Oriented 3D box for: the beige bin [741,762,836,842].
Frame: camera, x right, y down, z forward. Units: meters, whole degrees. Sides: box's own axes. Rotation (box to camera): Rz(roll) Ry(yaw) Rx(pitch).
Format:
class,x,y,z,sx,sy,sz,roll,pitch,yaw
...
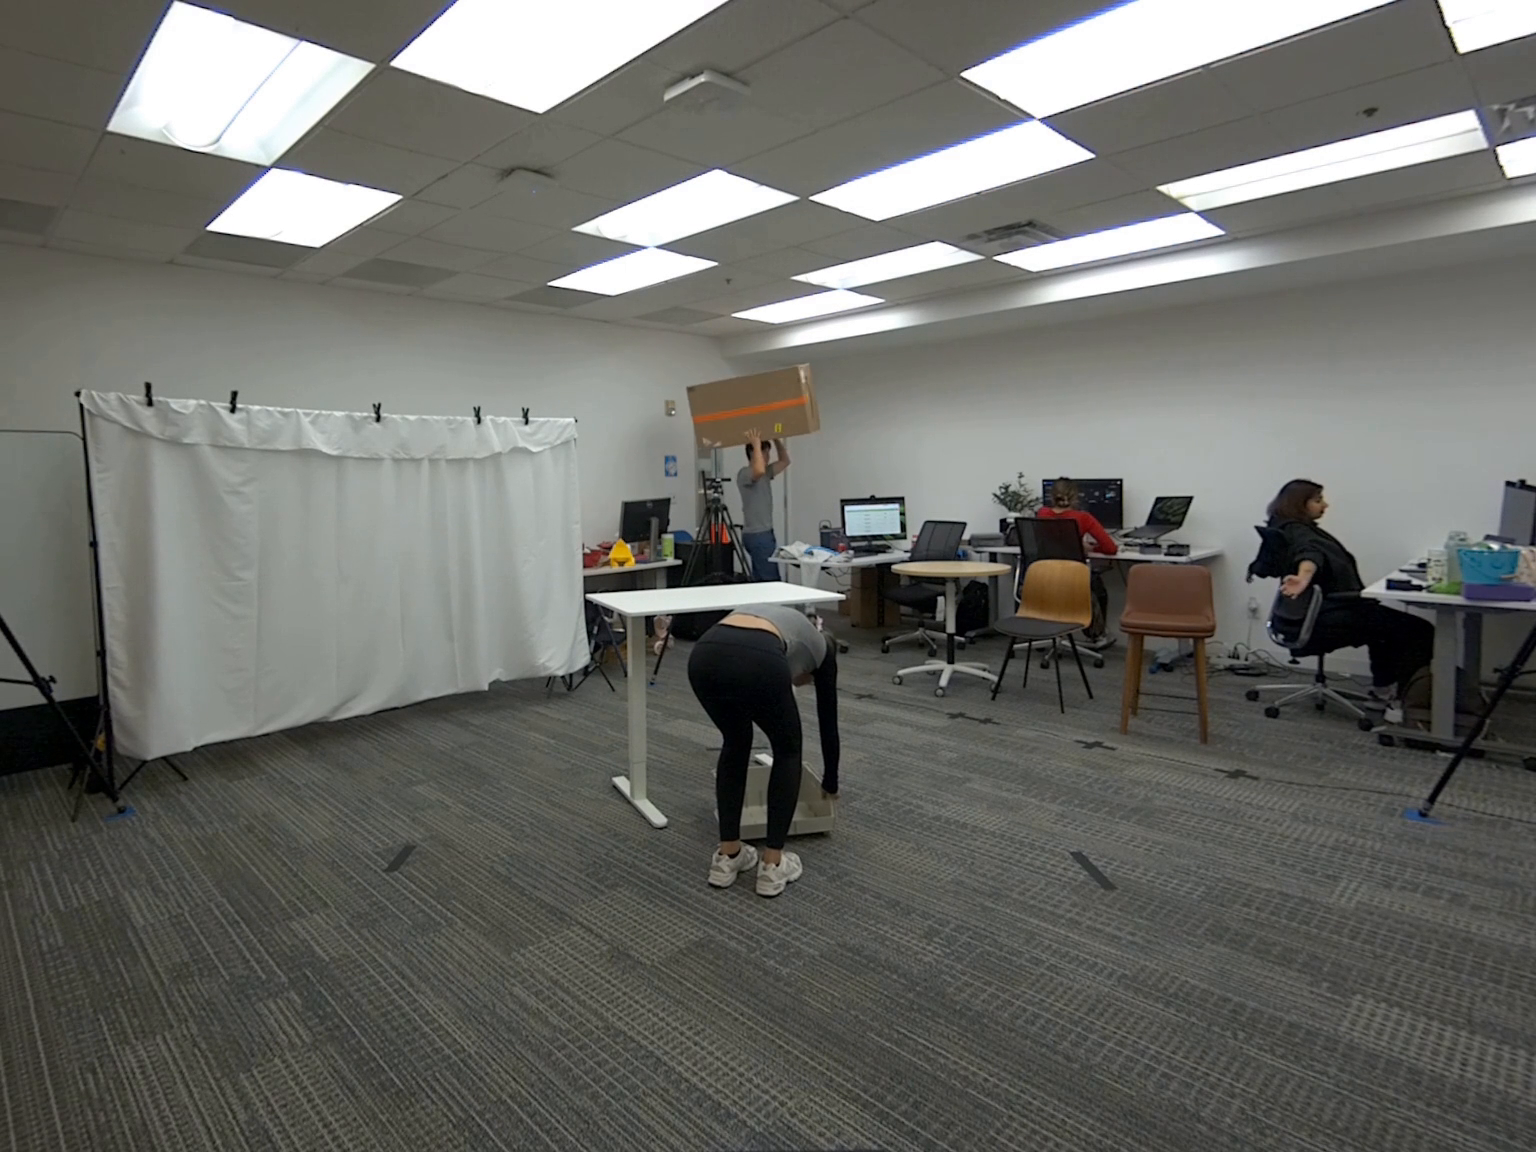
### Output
class,x,y,z,sx,sy,sz,roll,pitch,yaw
beige bin,0.016,0.913,3.432,0.418,0.188,0.383,-4,6,-13
